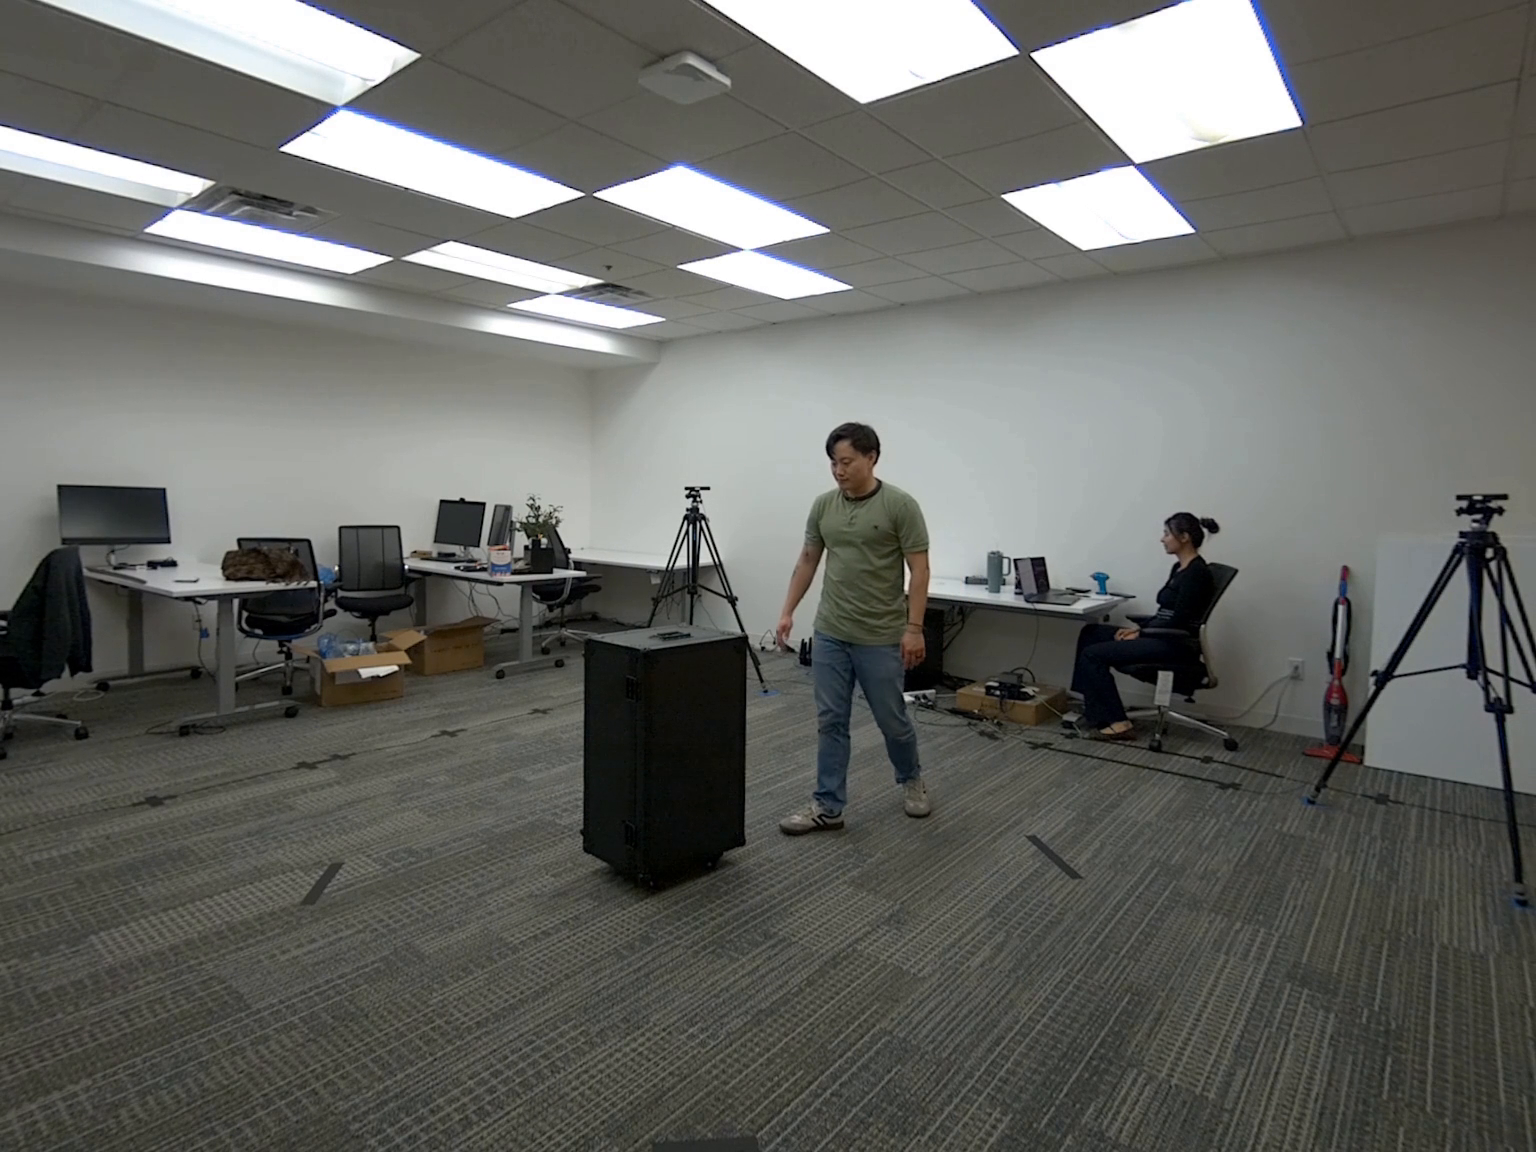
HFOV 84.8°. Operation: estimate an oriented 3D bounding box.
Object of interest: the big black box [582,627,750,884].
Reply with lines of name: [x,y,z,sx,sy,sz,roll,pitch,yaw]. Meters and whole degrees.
big black box: [-0.397,0.638,3.099,0.409,0.860,0.505,2,3,44]
